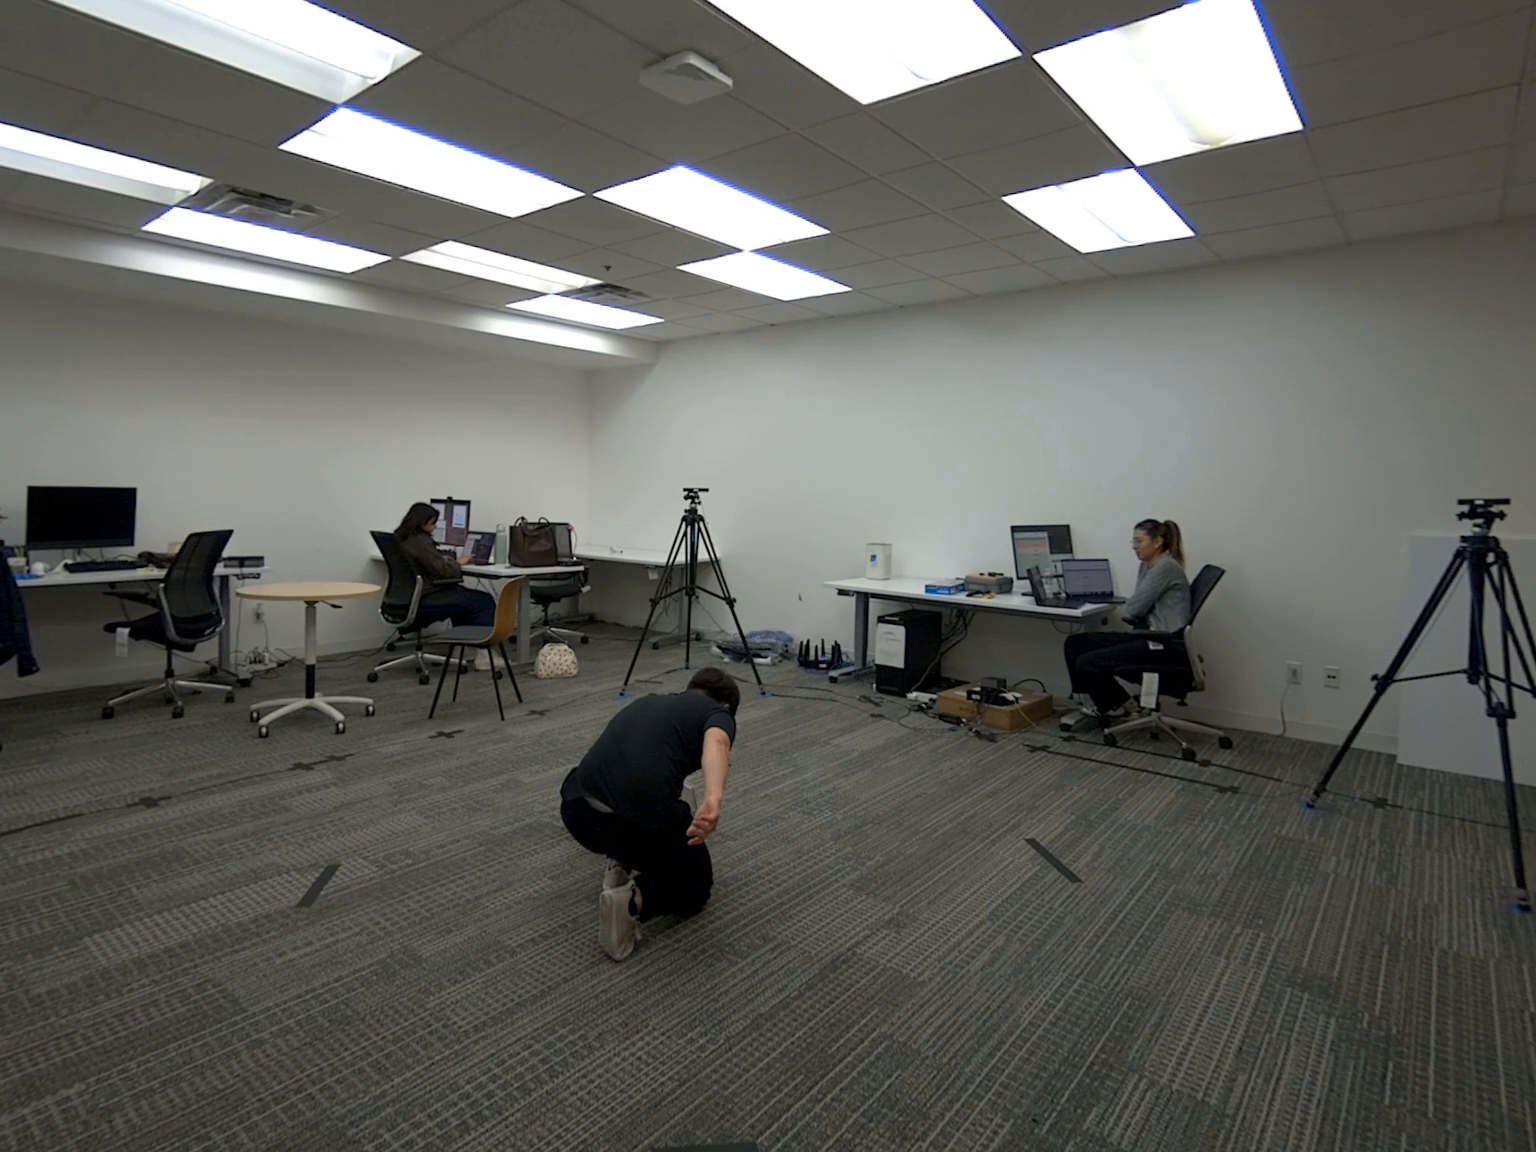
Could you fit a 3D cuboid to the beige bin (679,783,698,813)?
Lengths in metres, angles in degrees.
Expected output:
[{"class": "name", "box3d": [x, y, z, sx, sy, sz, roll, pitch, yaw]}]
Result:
[{"class": "beige bin", "box3d": [-0.568, 0.932, 3.479, 0.410, 0.188, 0.390, -4, 6, -37]}]
